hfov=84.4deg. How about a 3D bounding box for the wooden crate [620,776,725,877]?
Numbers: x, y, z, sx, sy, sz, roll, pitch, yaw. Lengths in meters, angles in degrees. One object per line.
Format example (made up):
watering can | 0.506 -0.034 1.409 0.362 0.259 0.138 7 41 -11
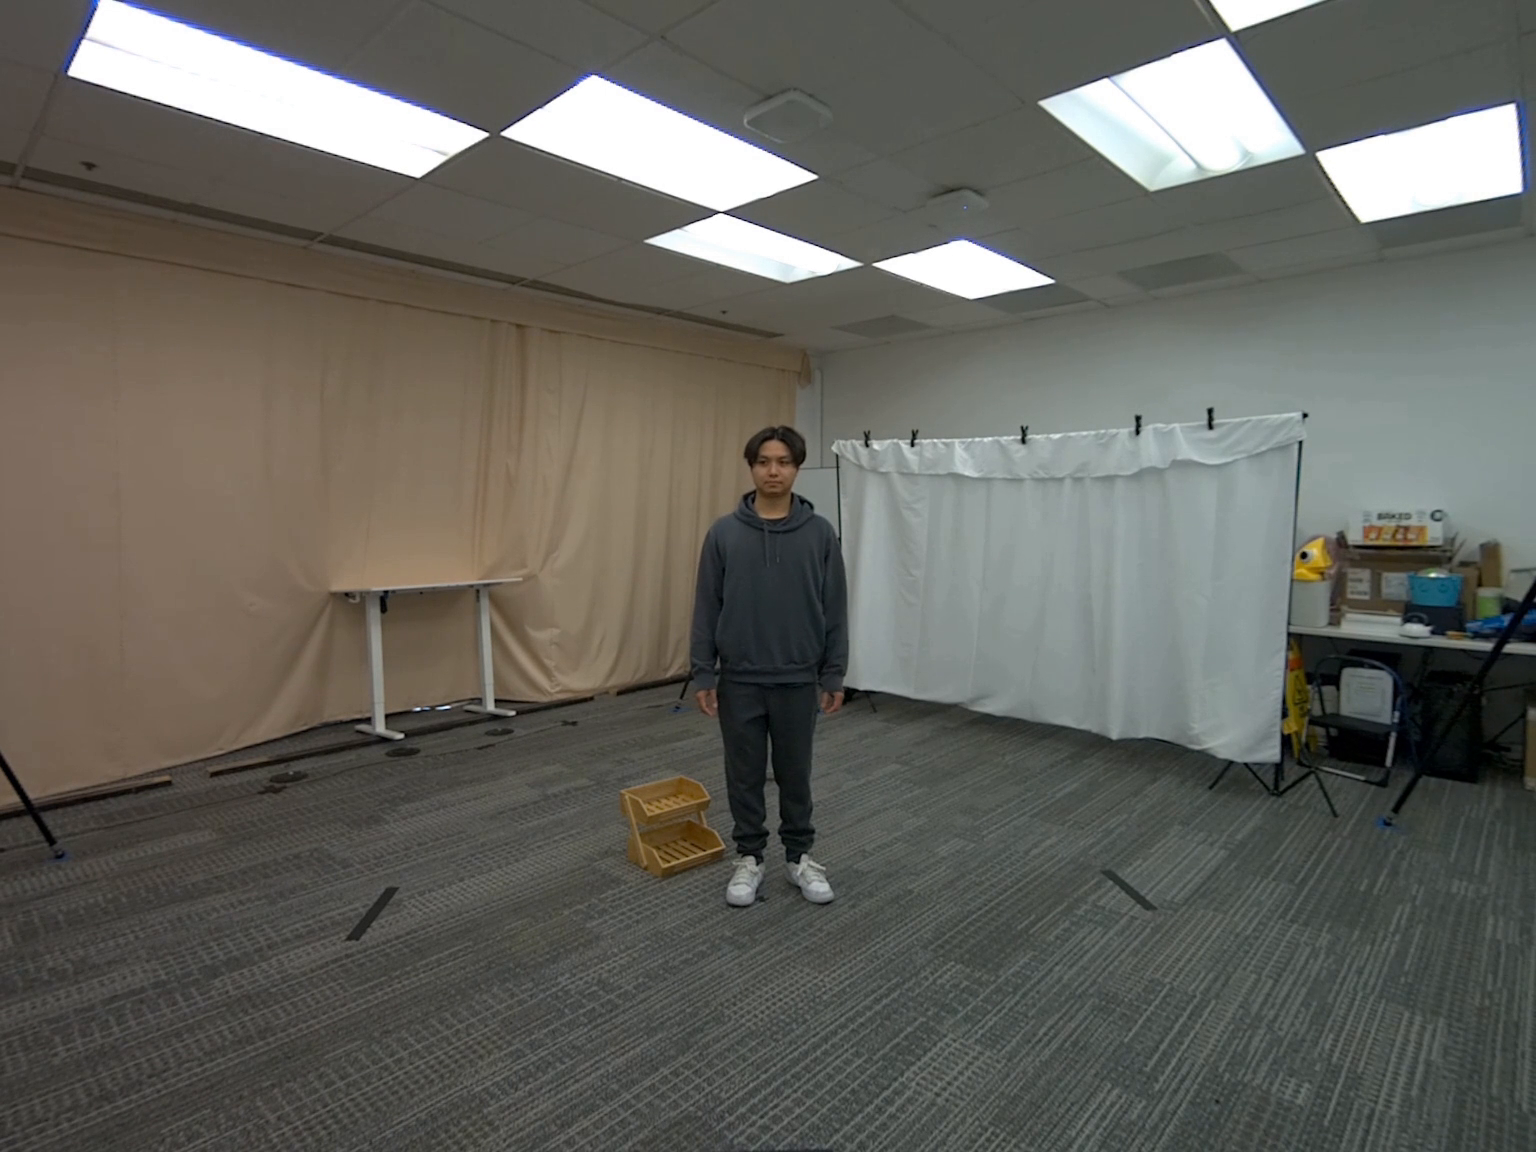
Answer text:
wooden crate | -0.379 0.983 3.344 0.315 0.273 0.312 -4 4 -40
